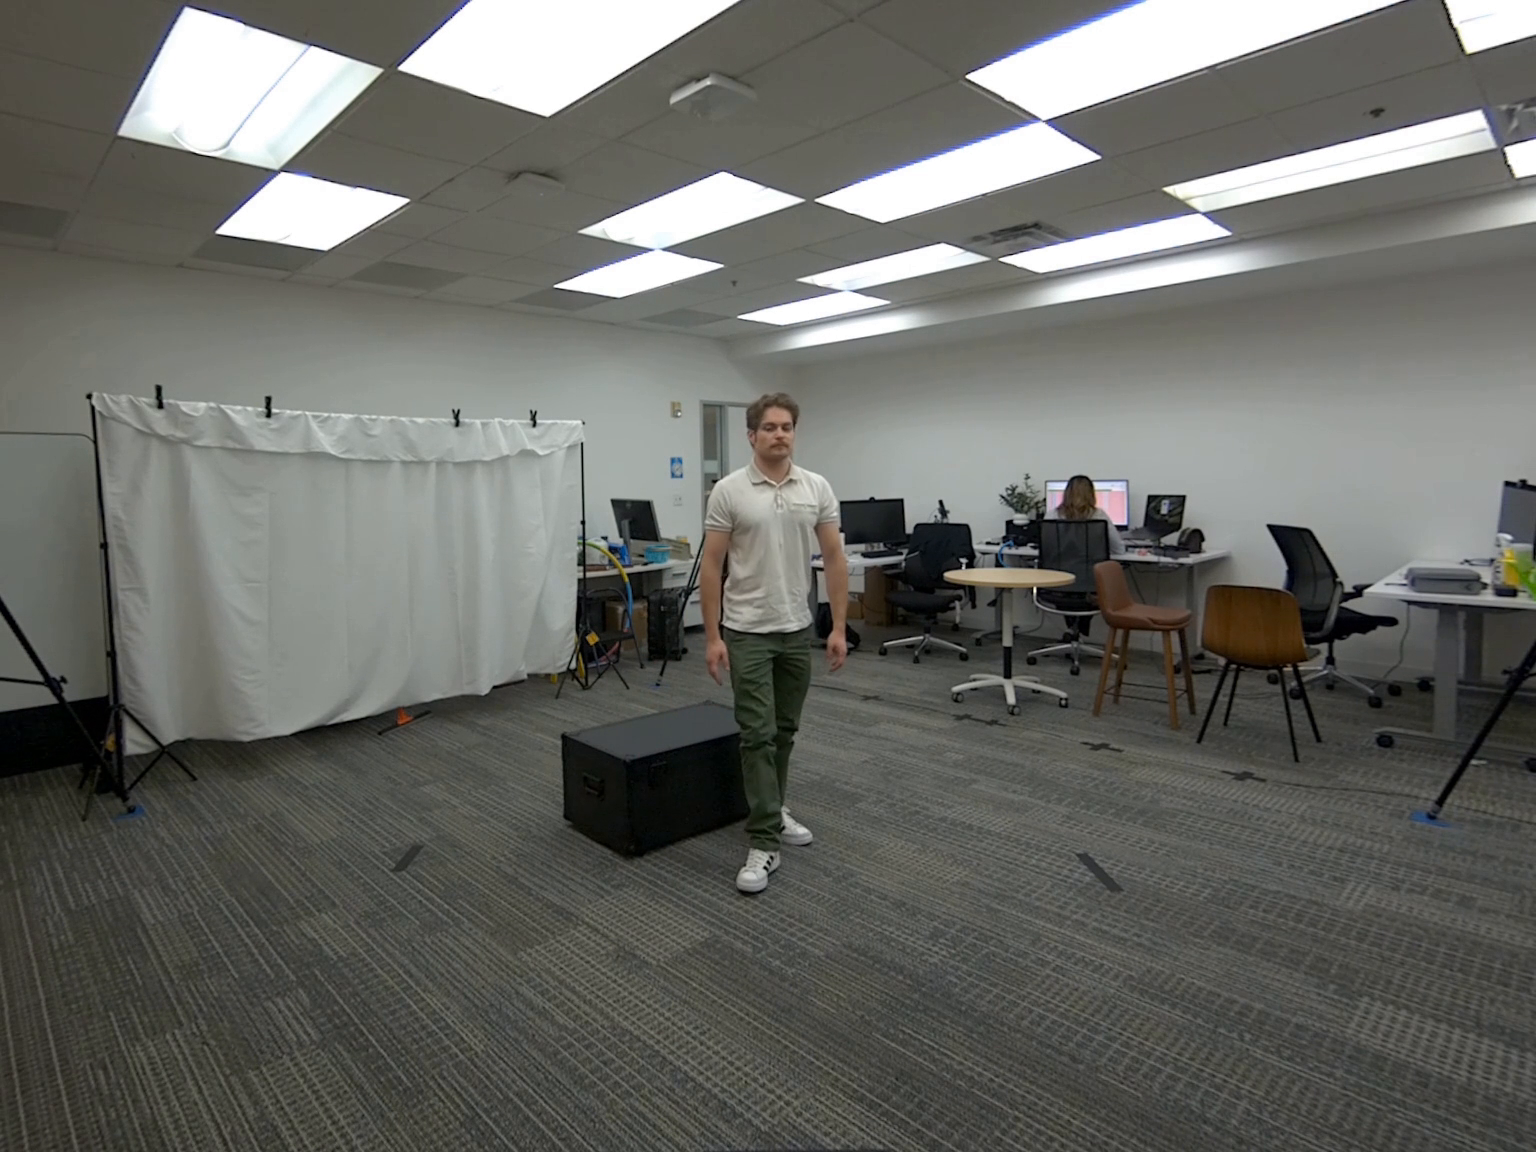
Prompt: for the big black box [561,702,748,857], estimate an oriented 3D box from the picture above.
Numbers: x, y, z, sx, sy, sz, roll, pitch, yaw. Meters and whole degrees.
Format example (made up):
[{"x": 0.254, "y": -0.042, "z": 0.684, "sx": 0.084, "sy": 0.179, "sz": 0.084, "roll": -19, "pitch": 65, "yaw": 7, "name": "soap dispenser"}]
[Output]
[{"x": -0.364, "y": 0.805, "z": 3.577, "sx": 0.846, "sy": 0.384, "sz": 0.539, "roll": -6, "pitch": 6, "yaw": -41, "name": "big black box"}]
